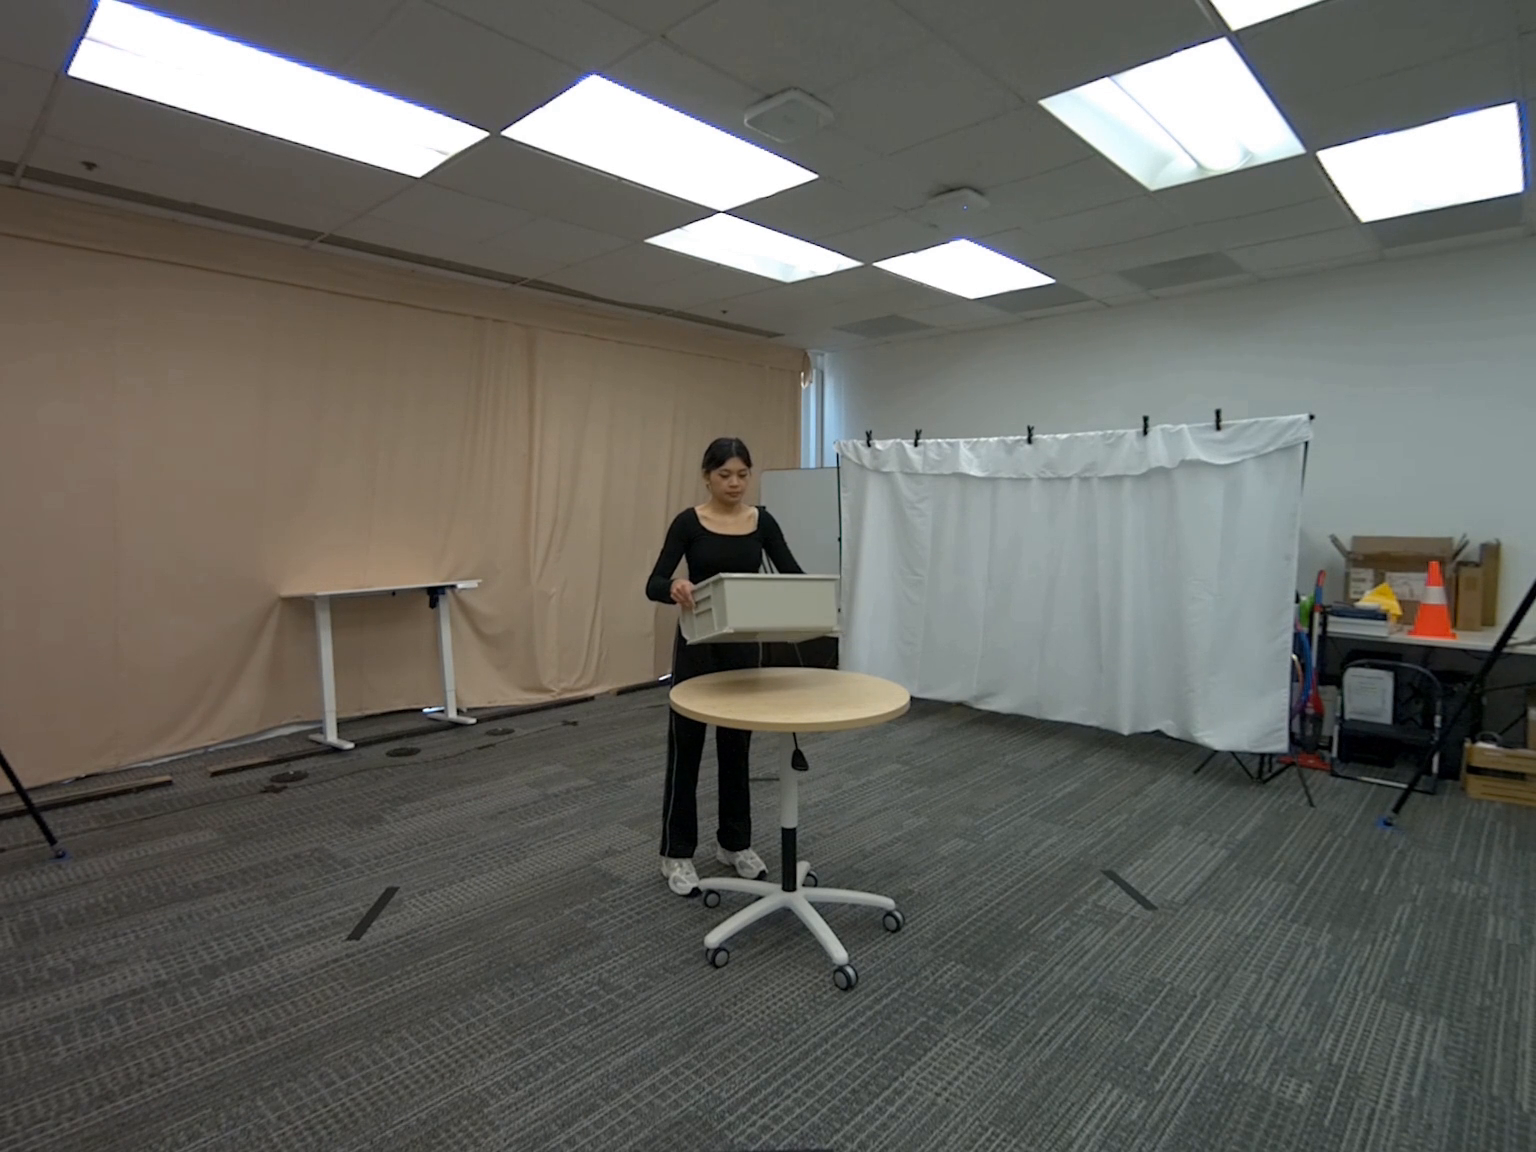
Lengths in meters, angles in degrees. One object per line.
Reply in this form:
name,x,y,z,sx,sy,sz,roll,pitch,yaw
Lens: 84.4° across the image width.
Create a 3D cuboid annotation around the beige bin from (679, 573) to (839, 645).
beige bin,-0.030,0.121,2.776,0.412,0.190,0.384,2,-11,-25
